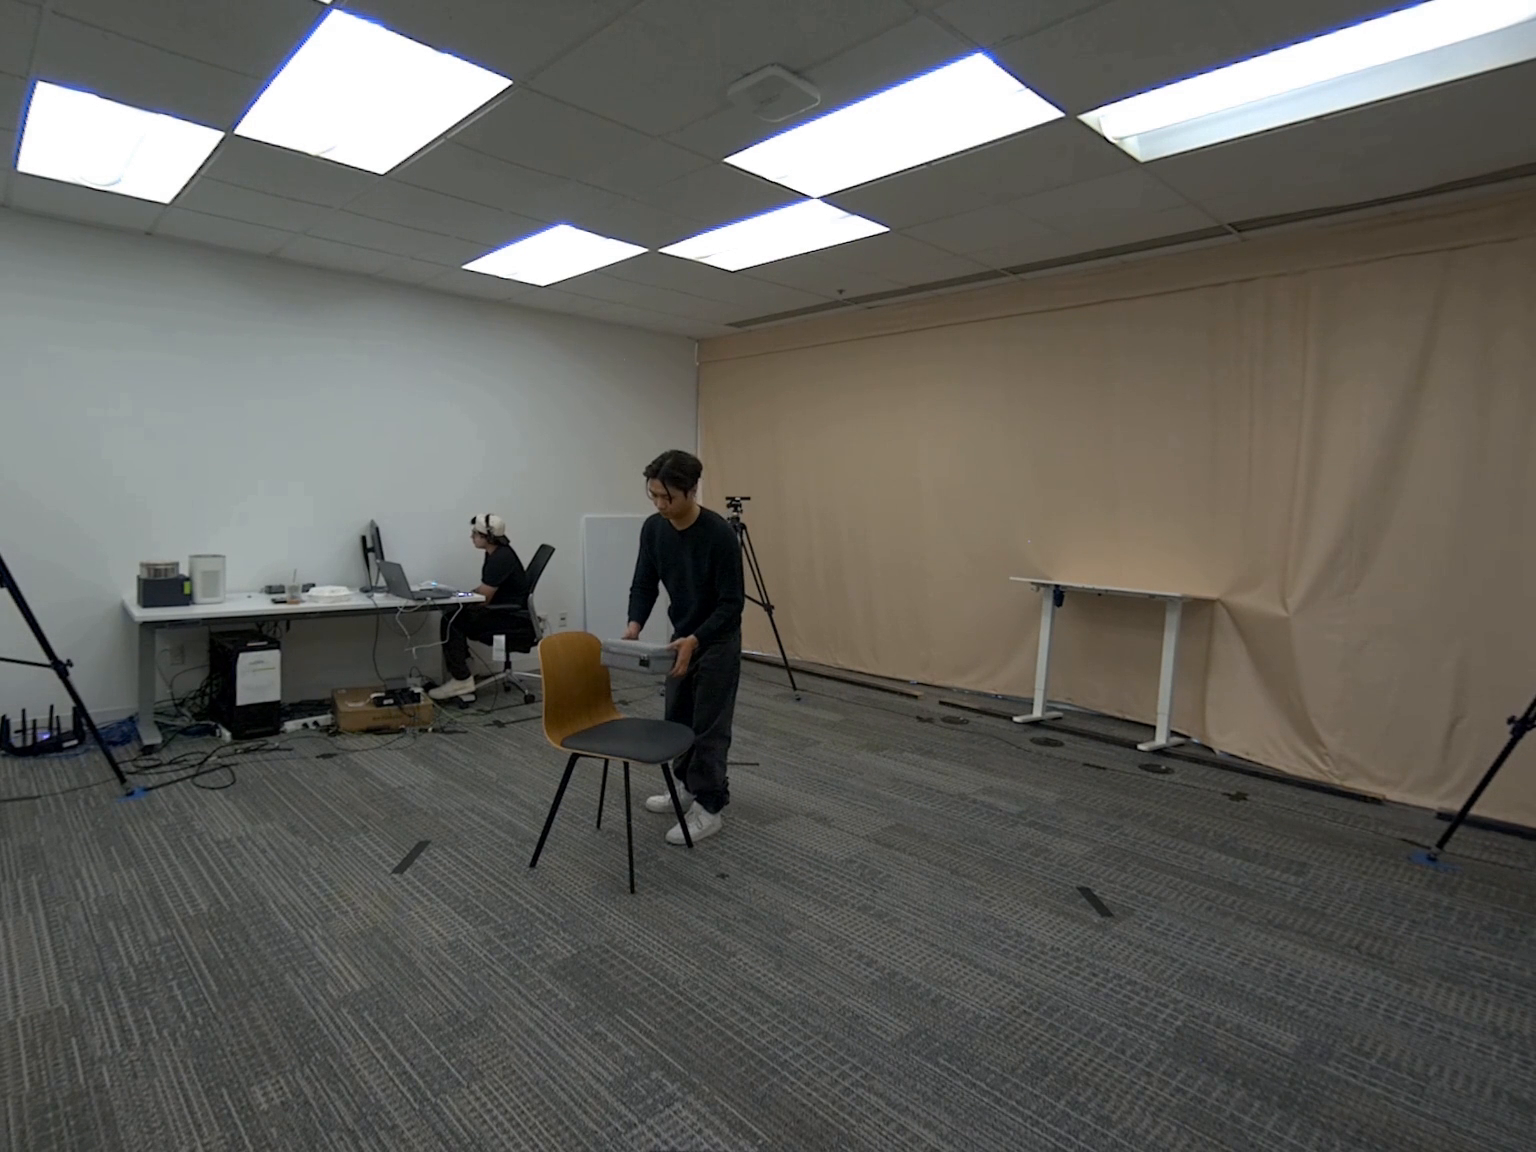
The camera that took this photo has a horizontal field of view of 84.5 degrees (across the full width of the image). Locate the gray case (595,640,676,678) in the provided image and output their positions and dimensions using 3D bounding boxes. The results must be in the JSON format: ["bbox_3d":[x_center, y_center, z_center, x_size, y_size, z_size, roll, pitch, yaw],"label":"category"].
[{"bbox_3d":[-0.470,0.309,3.217,0.262,0.104,0.255,5,-2,27],"label":"gray case"}]
